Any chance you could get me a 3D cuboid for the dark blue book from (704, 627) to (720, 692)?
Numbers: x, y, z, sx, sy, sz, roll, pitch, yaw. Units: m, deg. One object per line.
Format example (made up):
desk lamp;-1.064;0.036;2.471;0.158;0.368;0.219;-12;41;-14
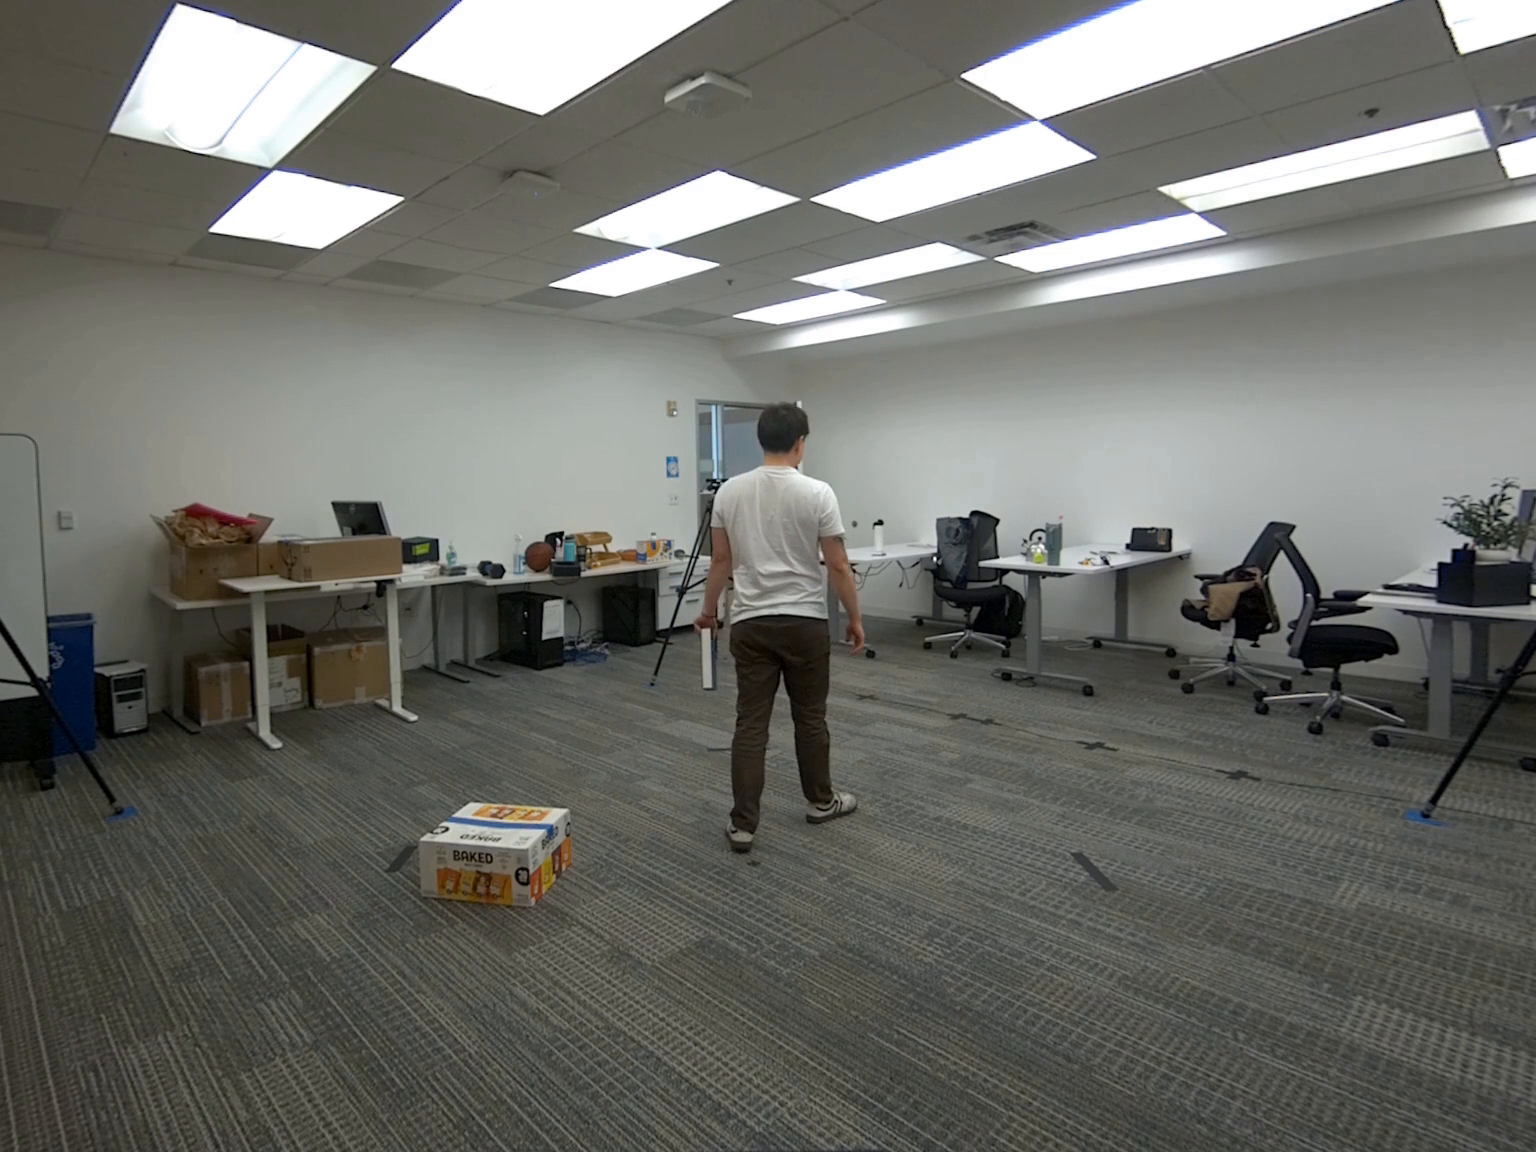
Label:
dark blue book;-0.231;0.342;3.513;0.045;0.248;0.161;-2;-12;2
